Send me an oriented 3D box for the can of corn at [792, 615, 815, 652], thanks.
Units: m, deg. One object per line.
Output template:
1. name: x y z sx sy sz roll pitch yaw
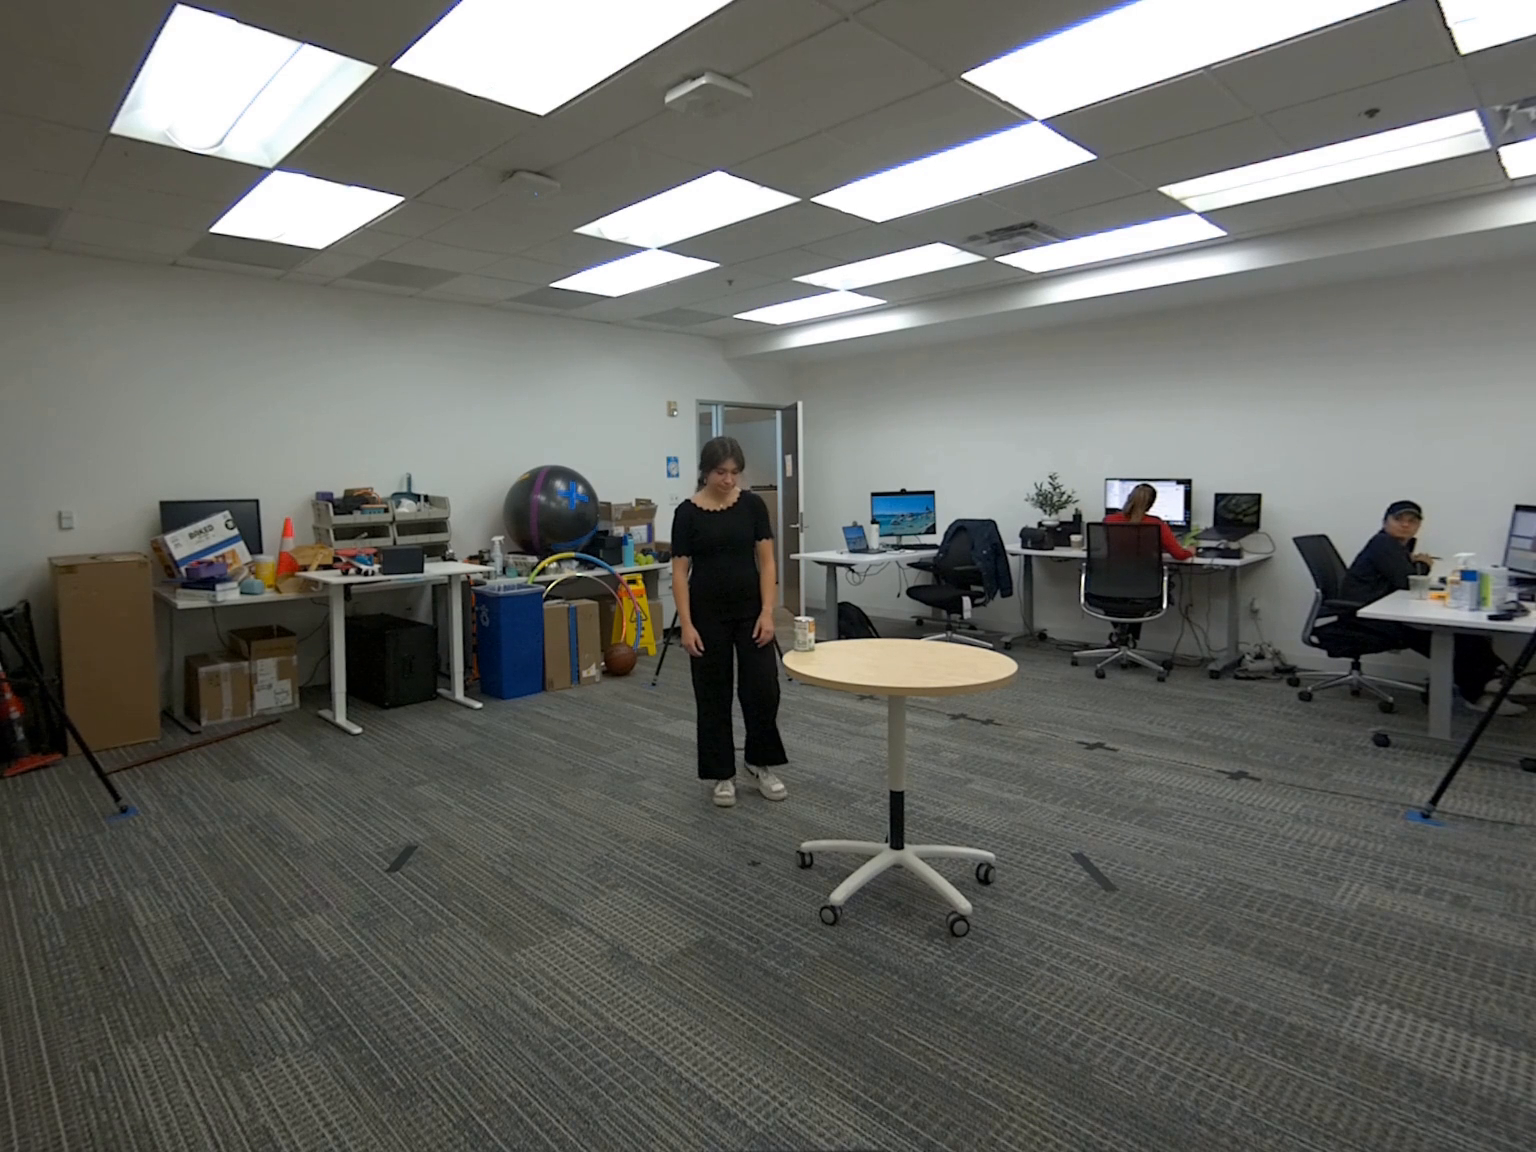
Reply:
1. can of corn: 0.137 0.207 3.041 0.074 0.111 0.074 -1 3 -2
